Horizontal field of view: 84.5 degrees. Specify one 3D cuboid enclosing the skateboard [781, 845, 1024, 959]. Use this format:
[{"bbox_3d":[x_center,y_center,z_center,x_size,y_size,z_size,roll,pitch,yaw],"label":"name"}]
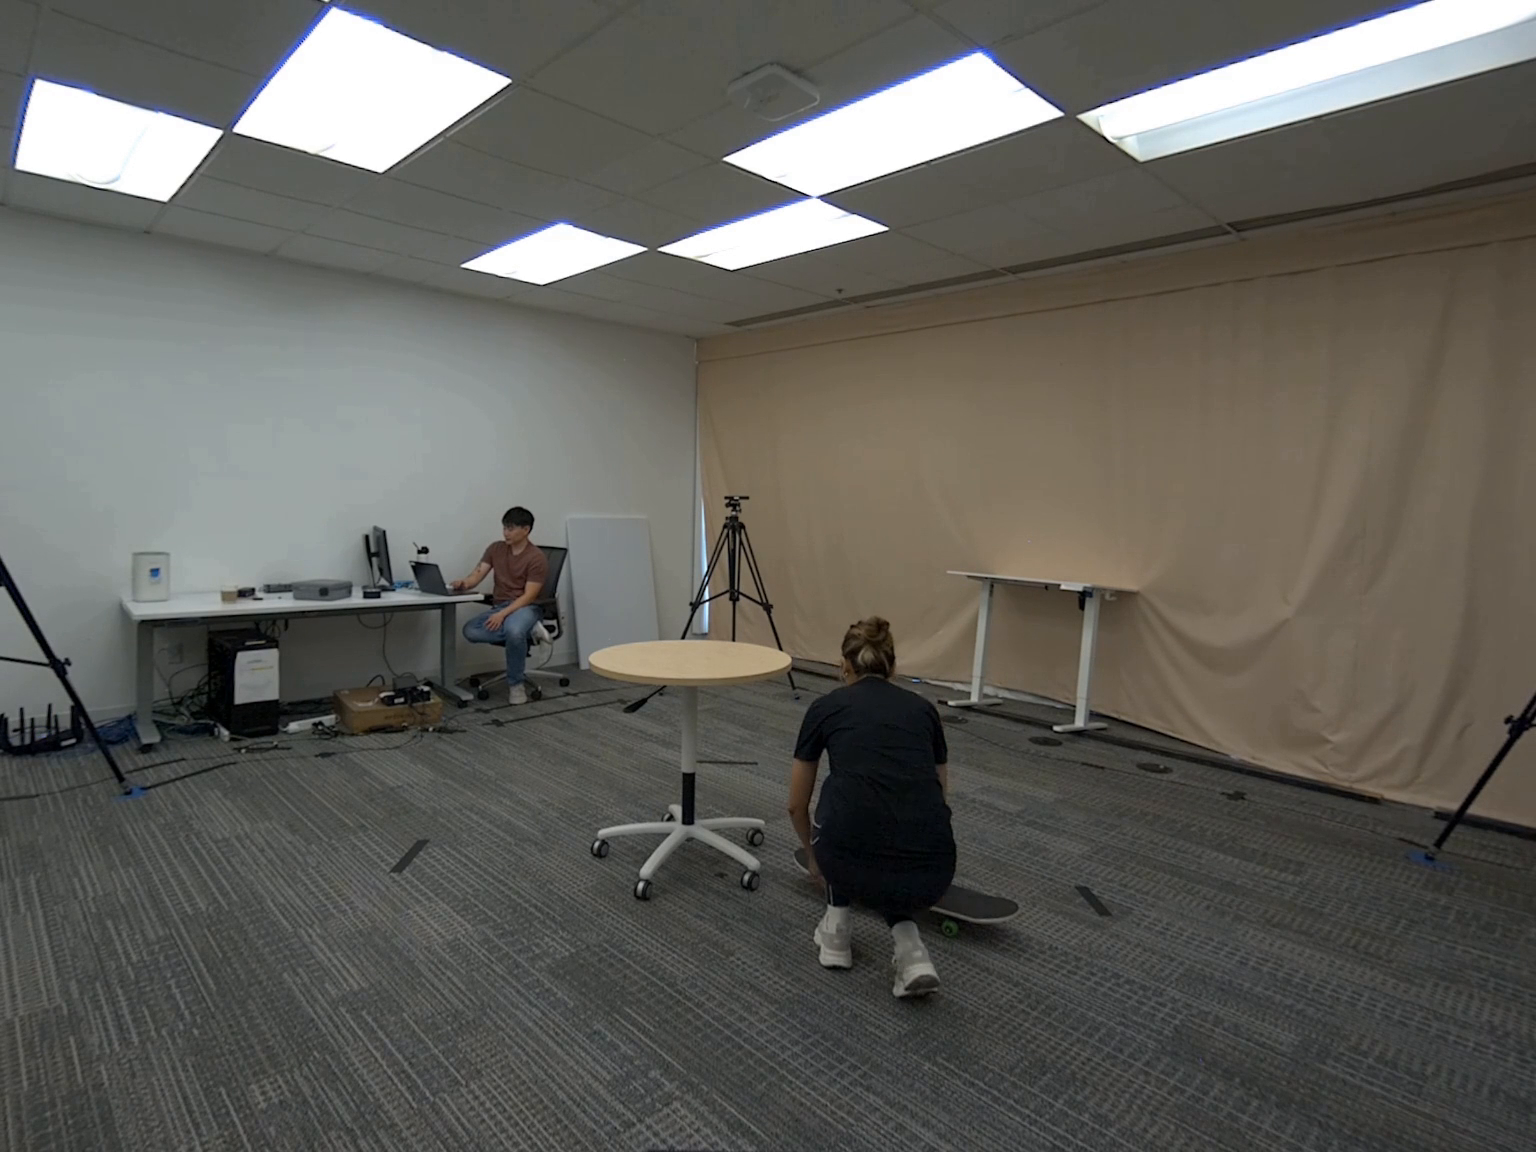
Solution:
[{"bbox_3d":[0.437,1.079,2.875,0.803,0.110,0.190,5,6,30],"label":"skateboard"}]
